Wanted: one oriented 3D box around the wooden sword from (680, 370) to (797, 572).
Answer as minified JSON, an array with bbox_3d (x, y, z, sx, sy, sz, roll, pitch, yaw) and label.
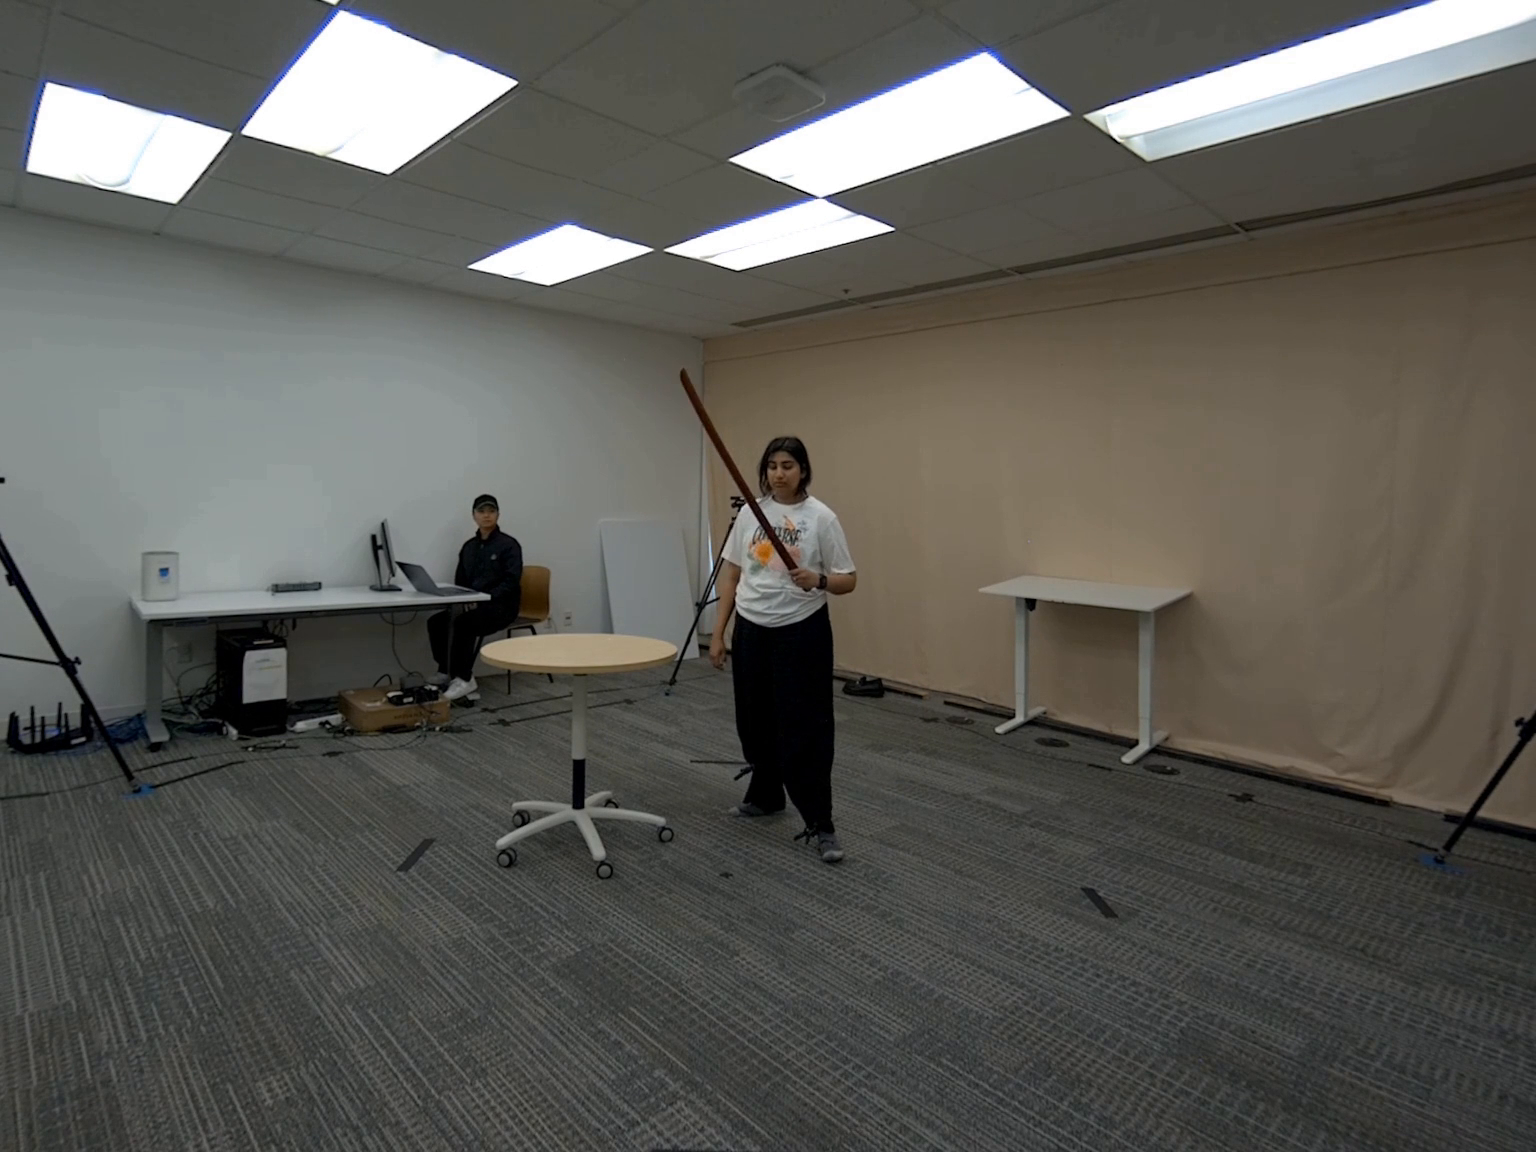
[{"bbox_3d":[-0.098,-0.316,3.075,0.052,0.999,0.024,9,47,49],"label":"wooden sword"}]
